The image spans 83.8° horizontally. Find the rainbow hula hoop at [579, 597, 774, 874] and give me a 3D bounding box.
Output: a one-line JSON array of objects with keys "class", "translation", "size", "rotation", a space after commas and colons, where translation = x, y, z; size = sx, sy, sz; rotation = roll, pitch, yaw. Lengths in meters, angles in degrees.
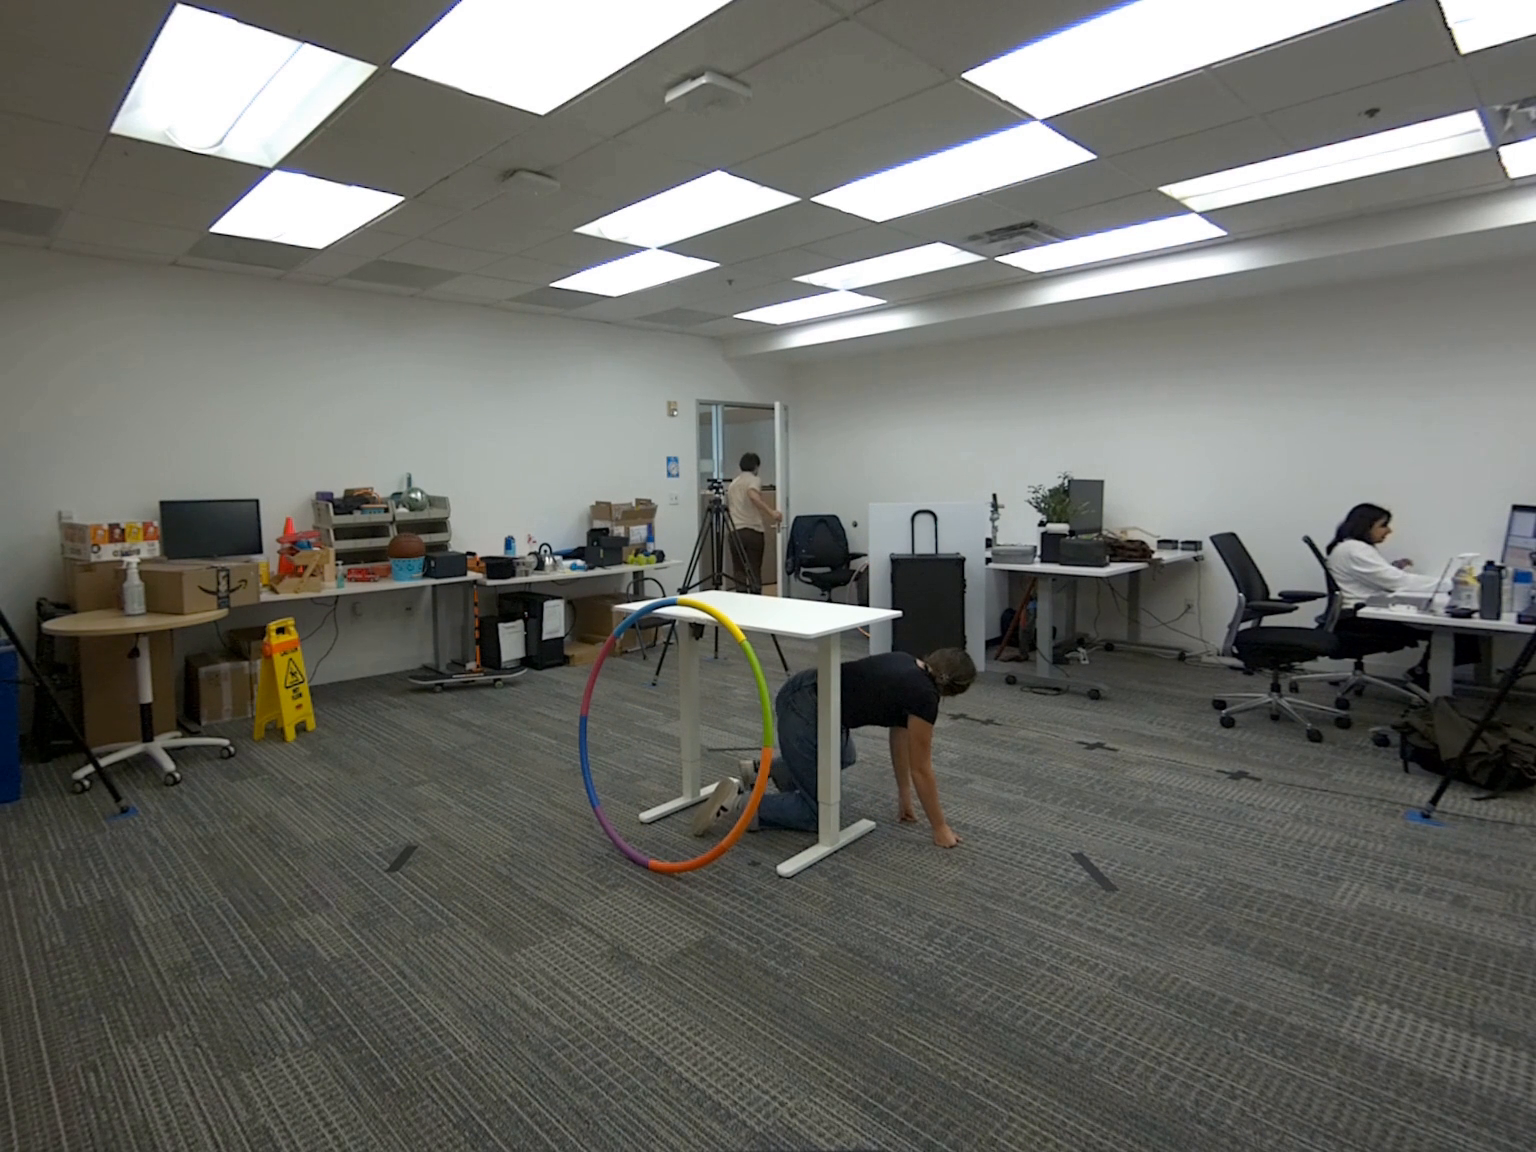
[{"class": "rainbow hula hoop", "translation": [-0.374, 0.573, 3.156], "size": [1.008, 0.984, 0.034], "rotation": [3, -9, 41]}]
